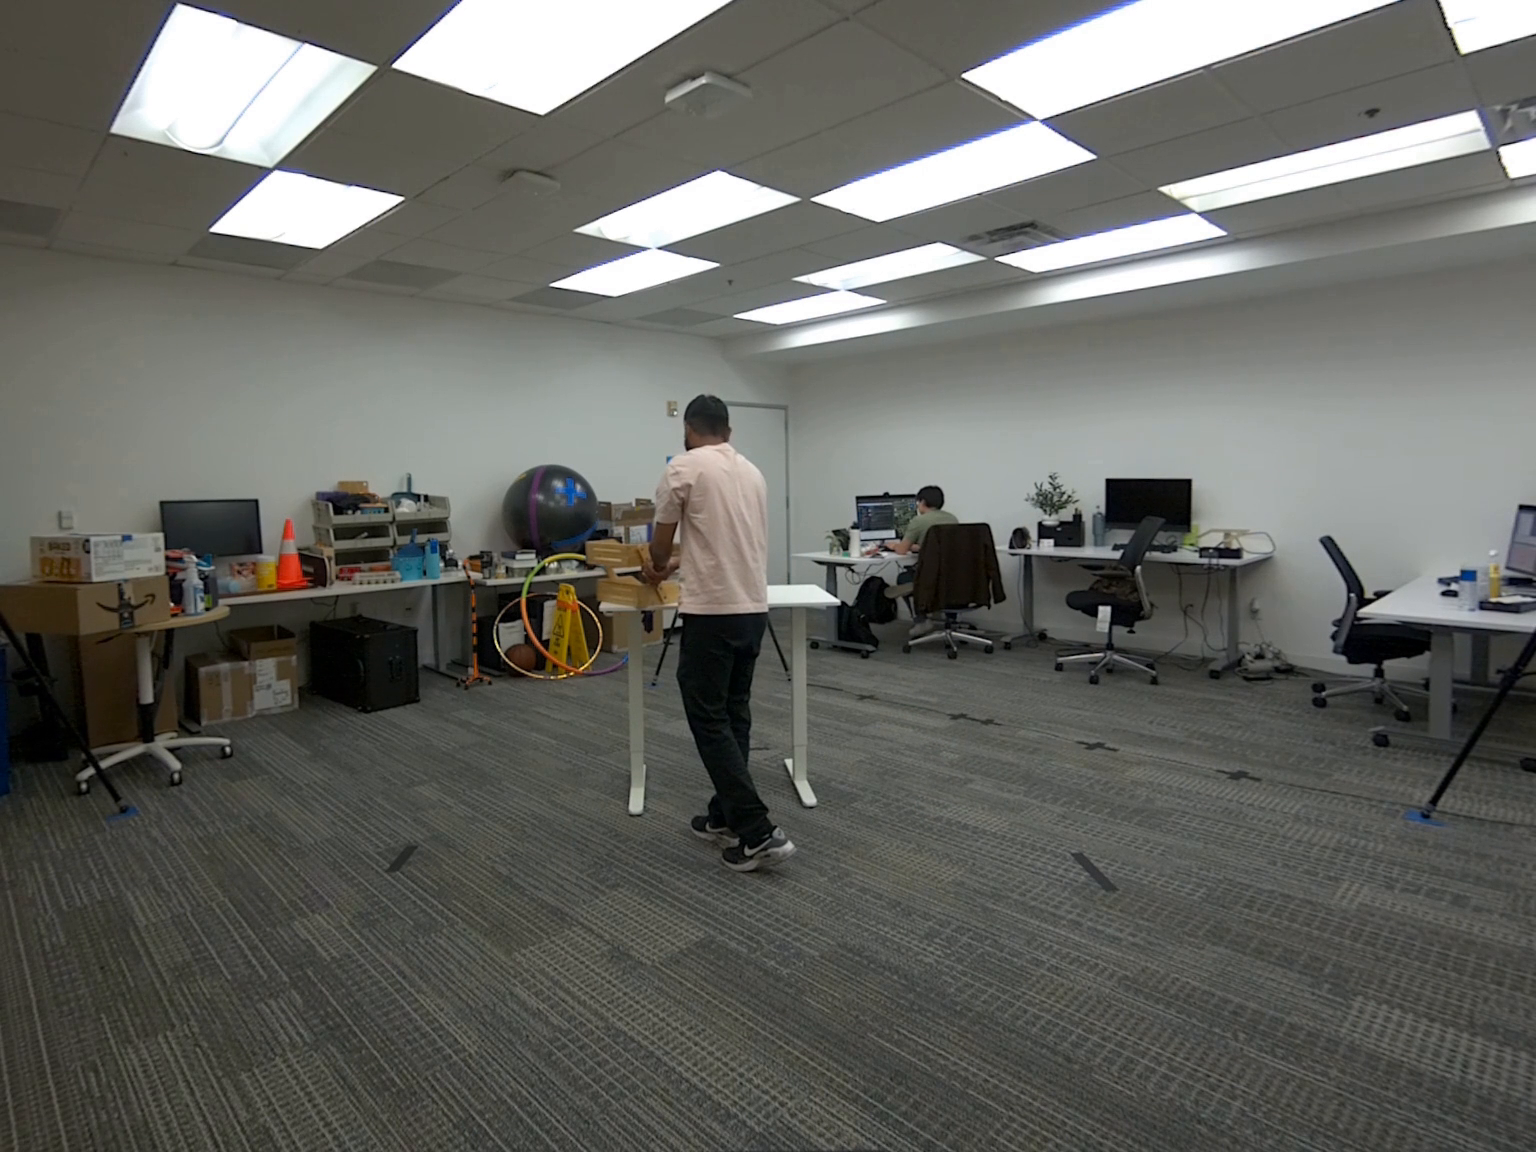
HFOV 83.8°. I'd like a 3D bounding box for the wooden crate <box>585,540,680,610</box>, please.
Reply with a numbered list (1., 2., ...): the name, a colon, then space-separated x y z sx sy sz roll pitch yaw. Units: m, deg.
1. wooden crate: -0.565 -0.023 3.649 0.334 0.272 0.294 5 9 43
